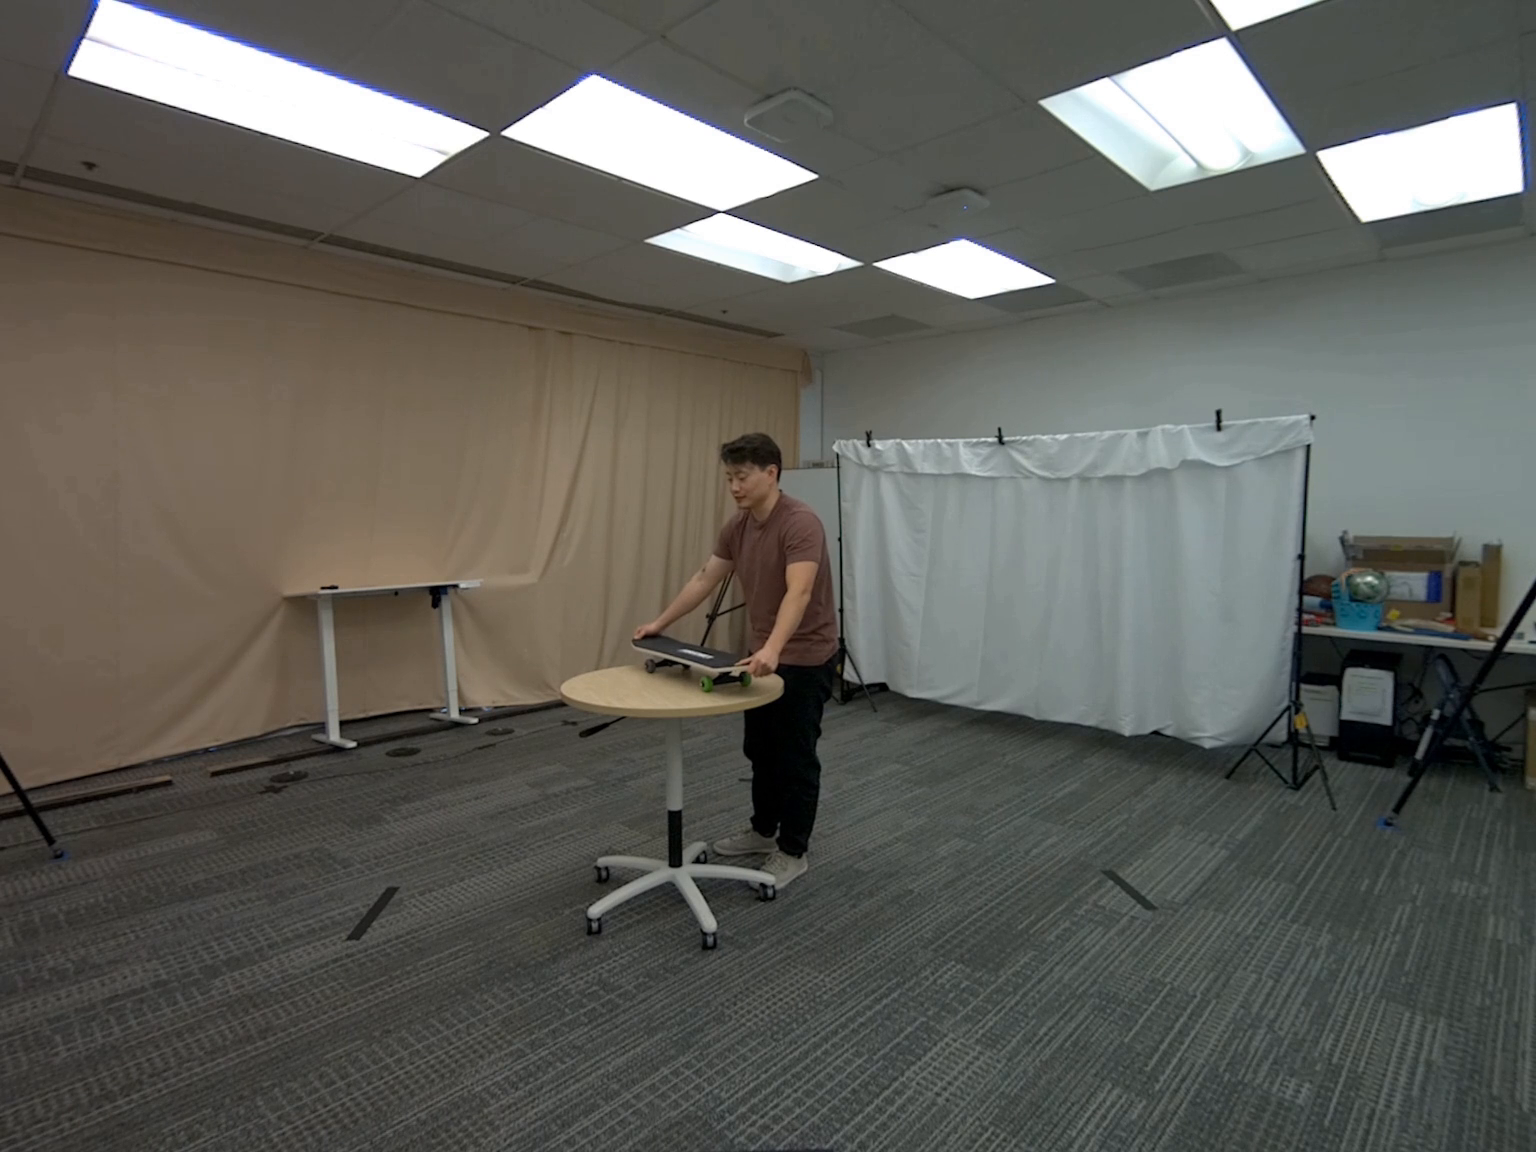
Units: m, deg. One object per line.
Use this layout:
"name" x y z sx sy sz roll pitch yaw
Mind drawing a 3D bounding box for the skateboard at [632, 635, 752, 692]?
"skateboard" -0.247 0.313 2.964 0.188 0.110 0.809 -4 5 -32
